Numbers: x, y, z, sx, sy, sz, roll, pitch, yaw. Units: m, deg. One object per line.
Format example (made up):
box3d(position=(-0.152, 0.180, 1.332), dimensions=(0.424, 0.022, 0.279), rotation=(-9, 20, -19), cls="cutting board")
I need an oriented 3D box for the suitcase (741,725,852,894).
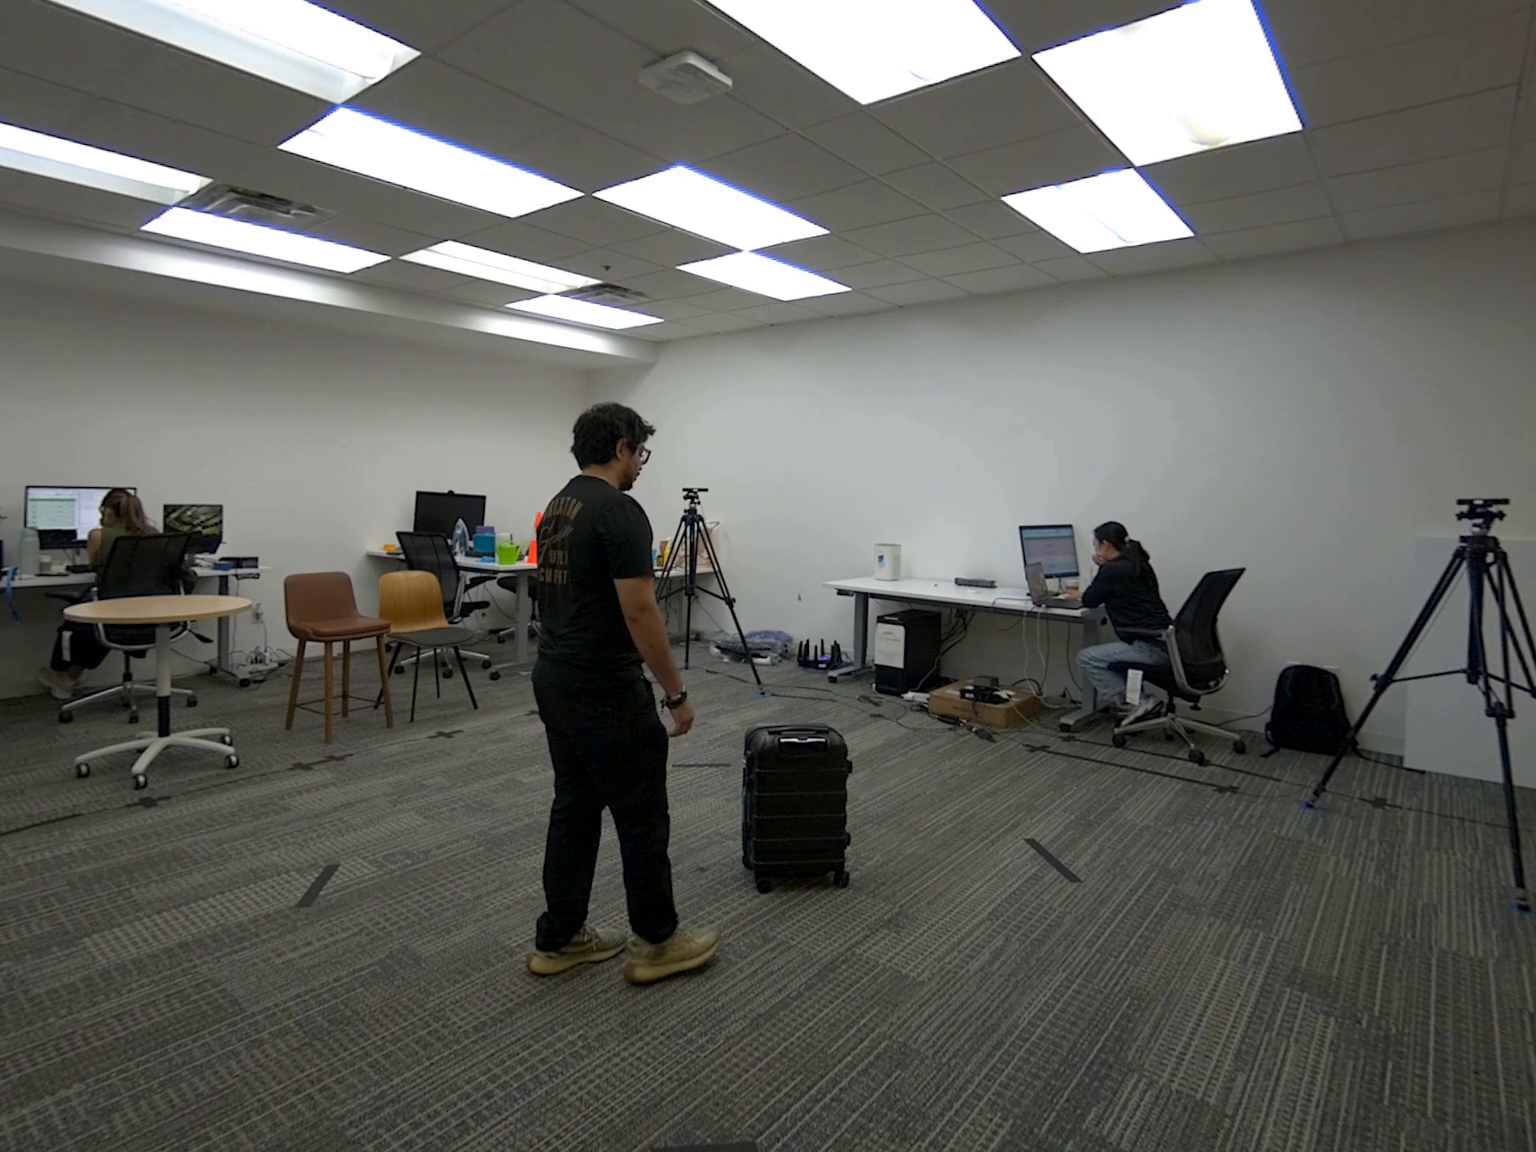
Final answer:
box3d(position=(0.088, 0.804, 3.055), dimensions=(0.372, 0.548, 0.251), rotation=(0, 3, -9), cls="suitcase")
